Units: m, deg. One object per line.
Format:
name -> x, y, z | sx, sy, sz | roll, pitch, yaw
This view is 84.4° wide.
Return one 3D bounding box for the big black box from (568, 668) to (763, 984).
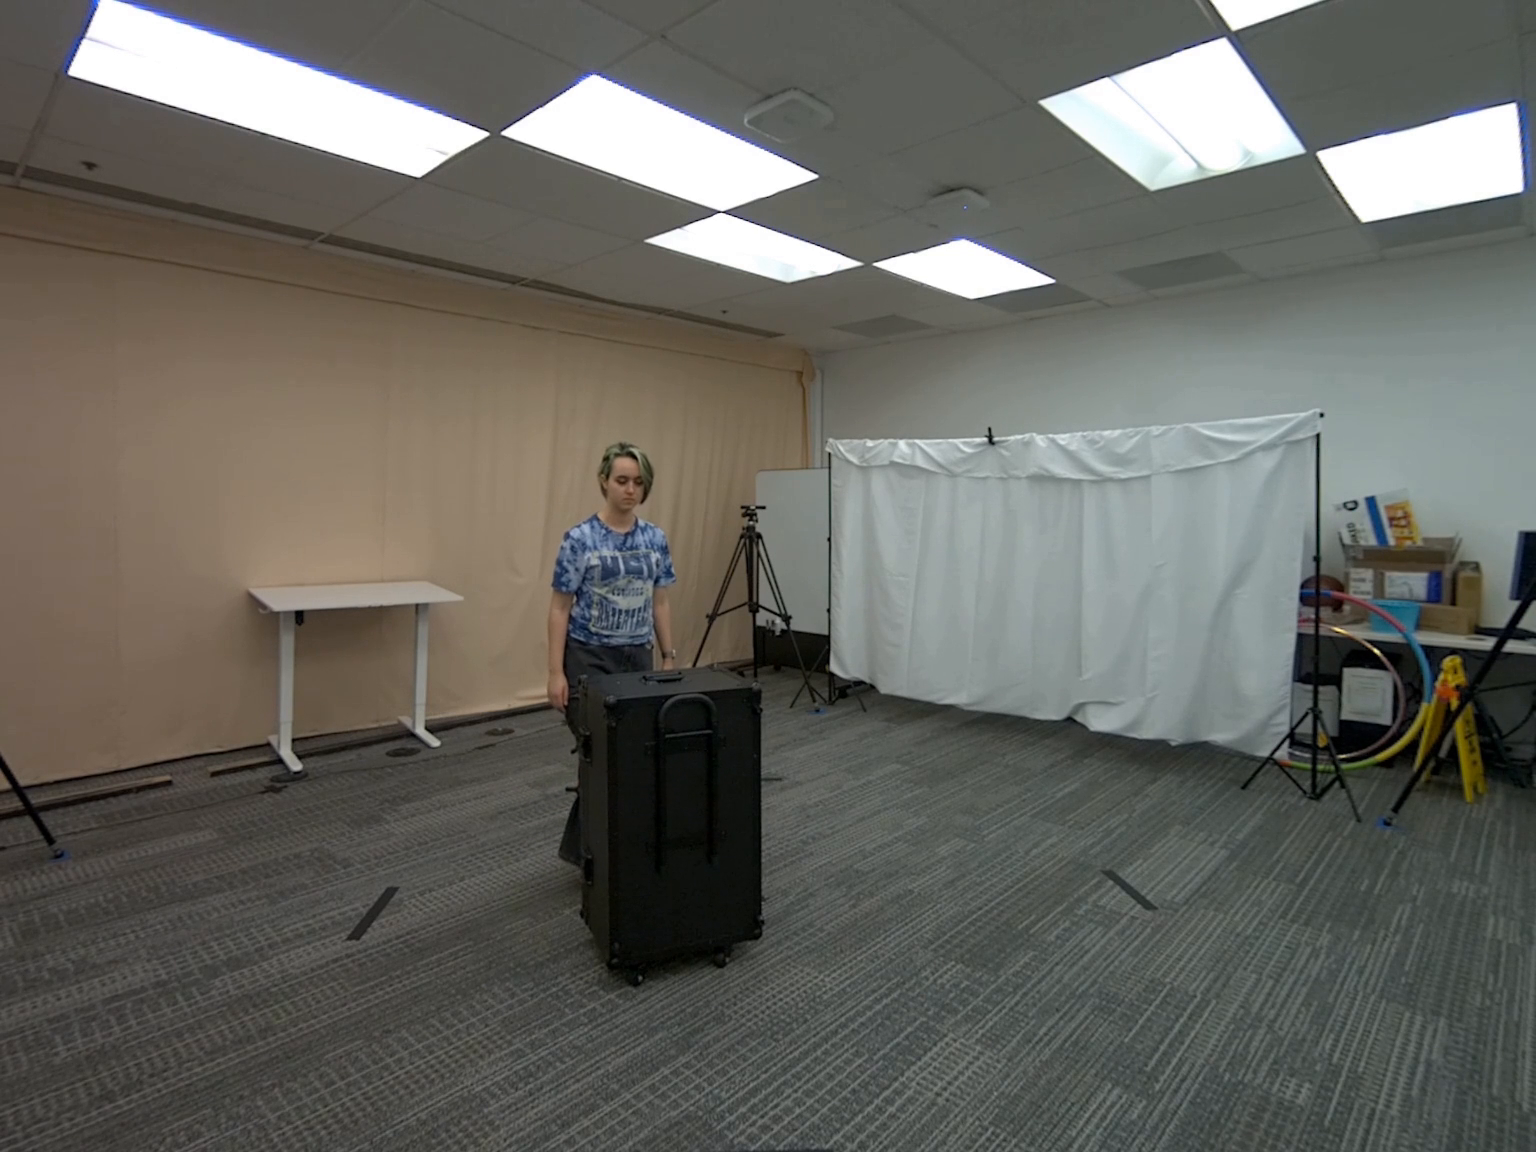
big black box -> -0.305, 0.692, 2.614 | 0.509, 0.860, 0.406 | -1, 3, -24
